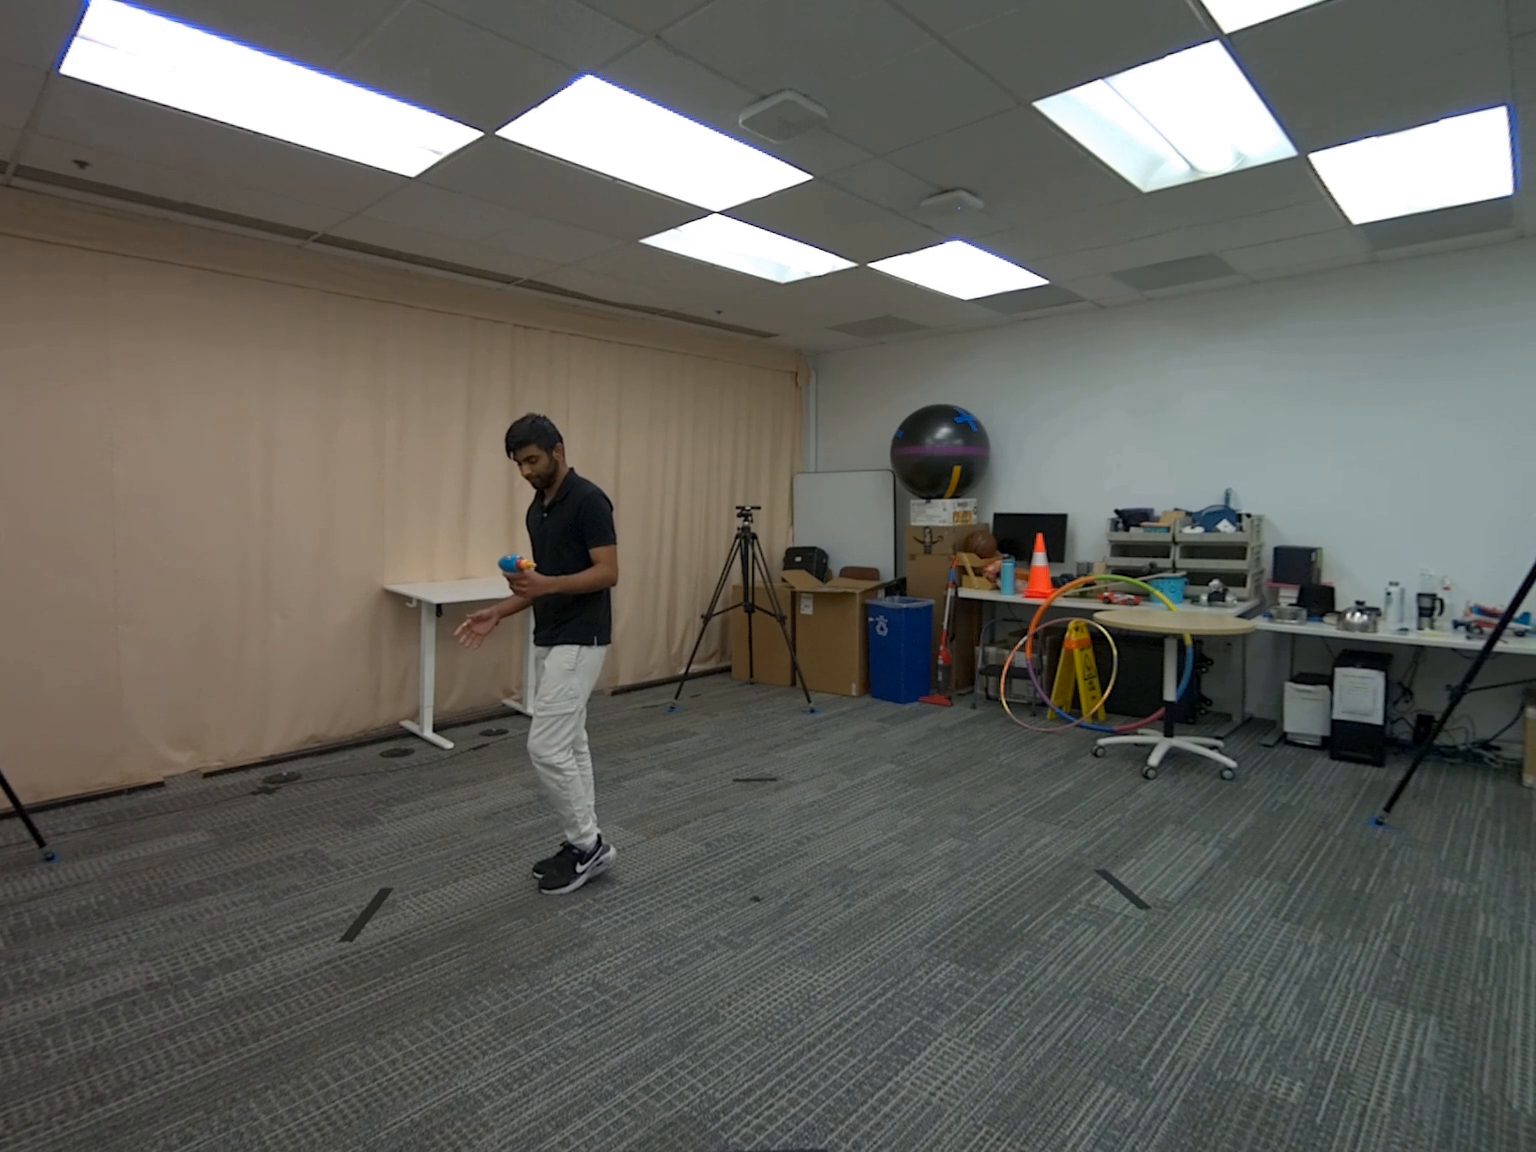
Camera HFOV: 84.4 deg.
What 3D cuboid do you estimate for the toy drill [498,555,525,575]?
[{"bbox_3d":[-0.786,-0.009,2.791,0.175,0.142,0.061,4,41,31],"label":"toy drill"}]
